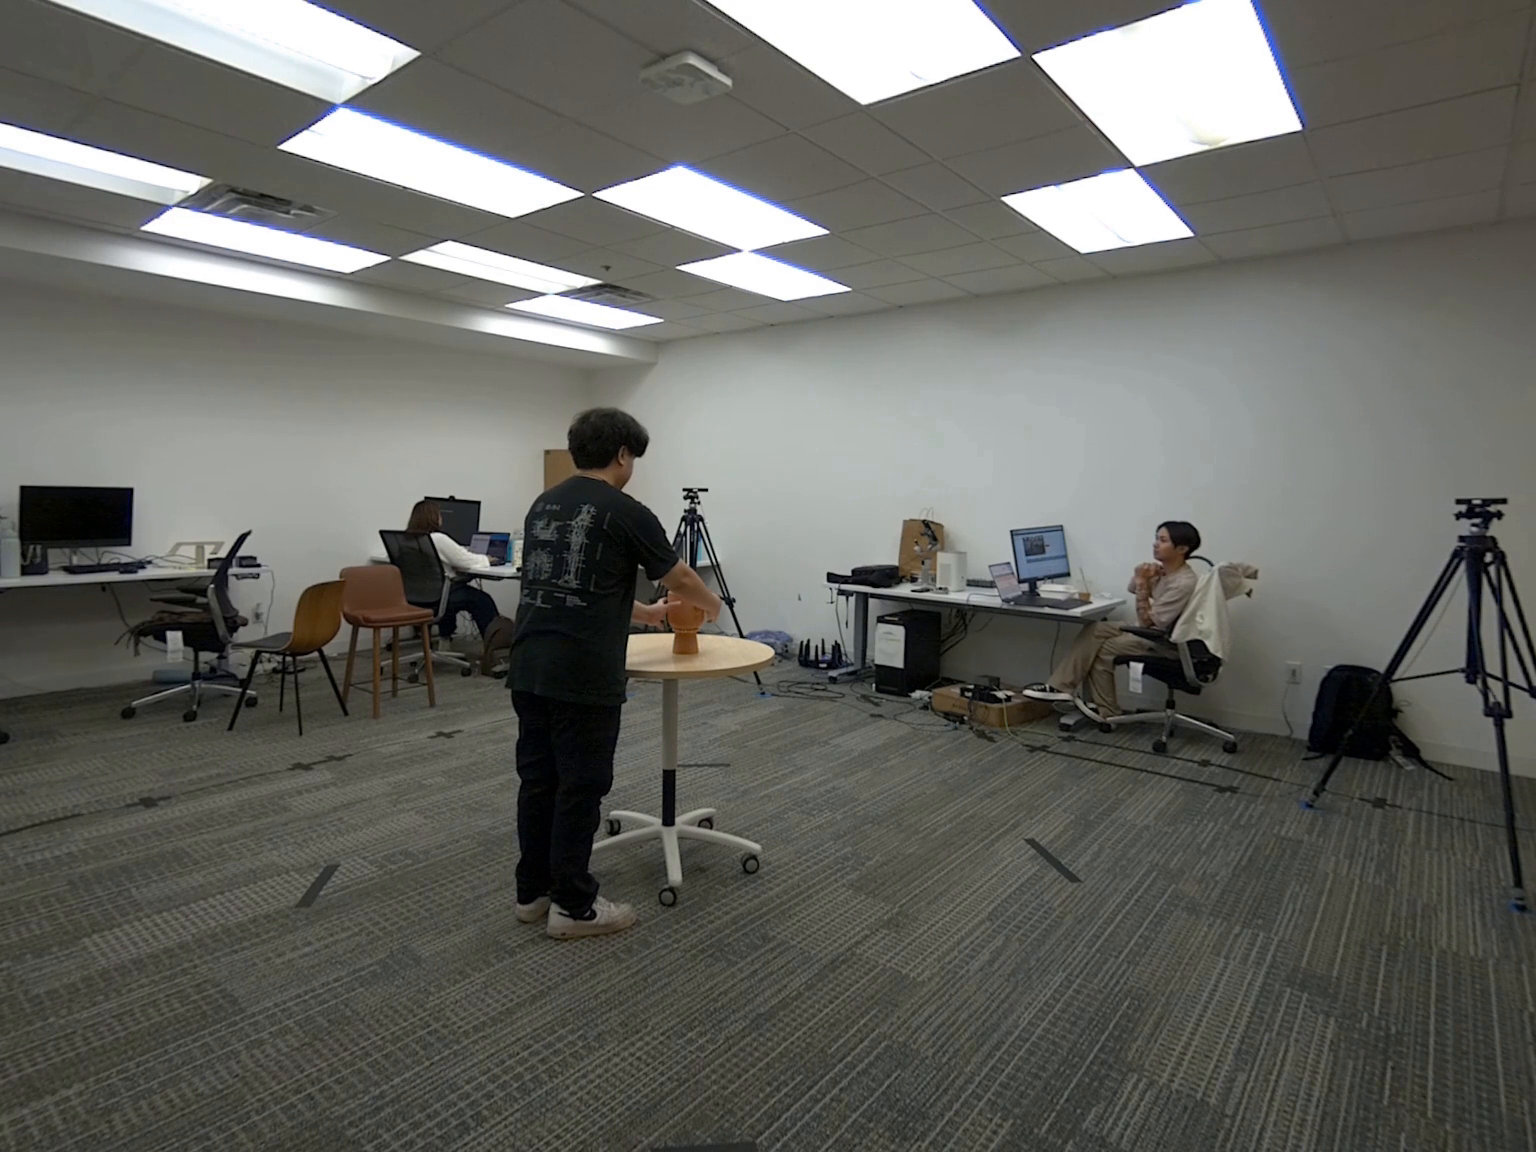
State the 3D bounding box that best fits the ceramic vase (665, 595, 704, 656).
[{"bbox_3d":[-0.311,0.166,3.101,0.155,0.219,0.138,-2,3,-30],"label":"ceramic vase"}]
